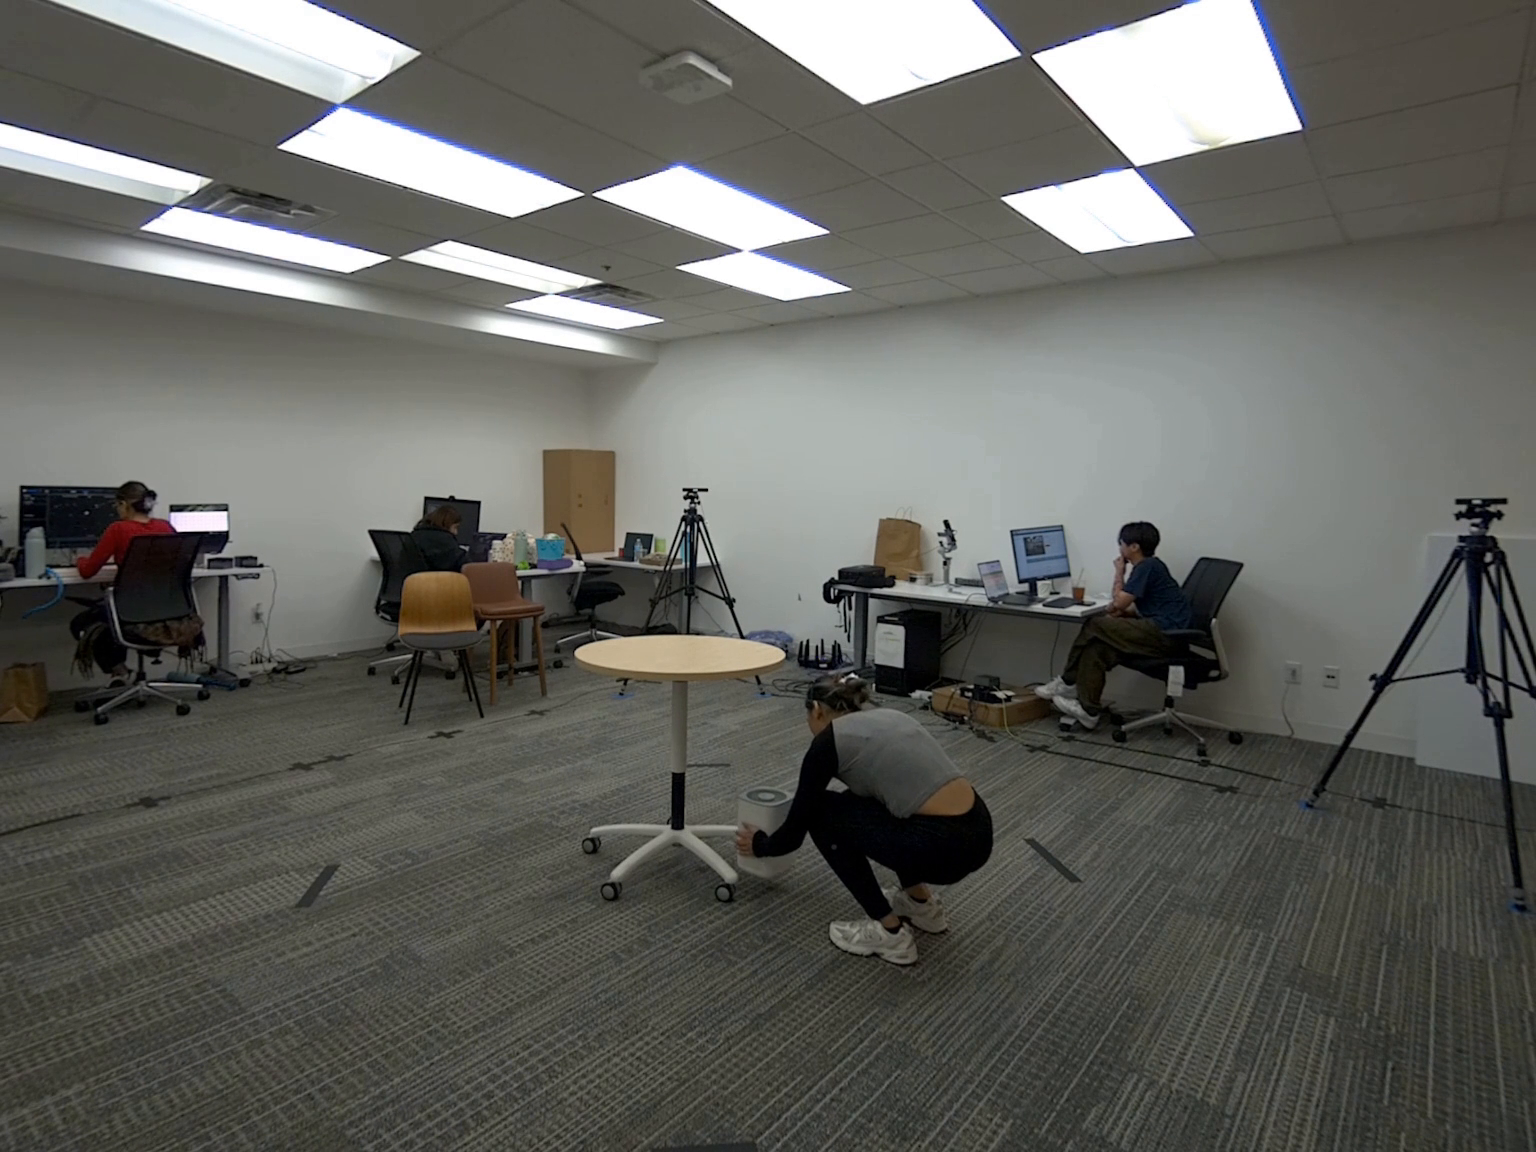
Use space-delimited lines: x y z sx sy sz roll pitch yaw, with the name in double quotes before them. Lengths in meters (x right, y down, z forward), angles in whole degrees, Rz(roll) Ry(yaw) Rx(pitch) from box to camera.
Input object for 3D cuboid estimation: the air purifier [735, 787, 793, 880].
"air purifier" -0.014 0.893 2.981 0.177 0.265 0.166 3 4 35
